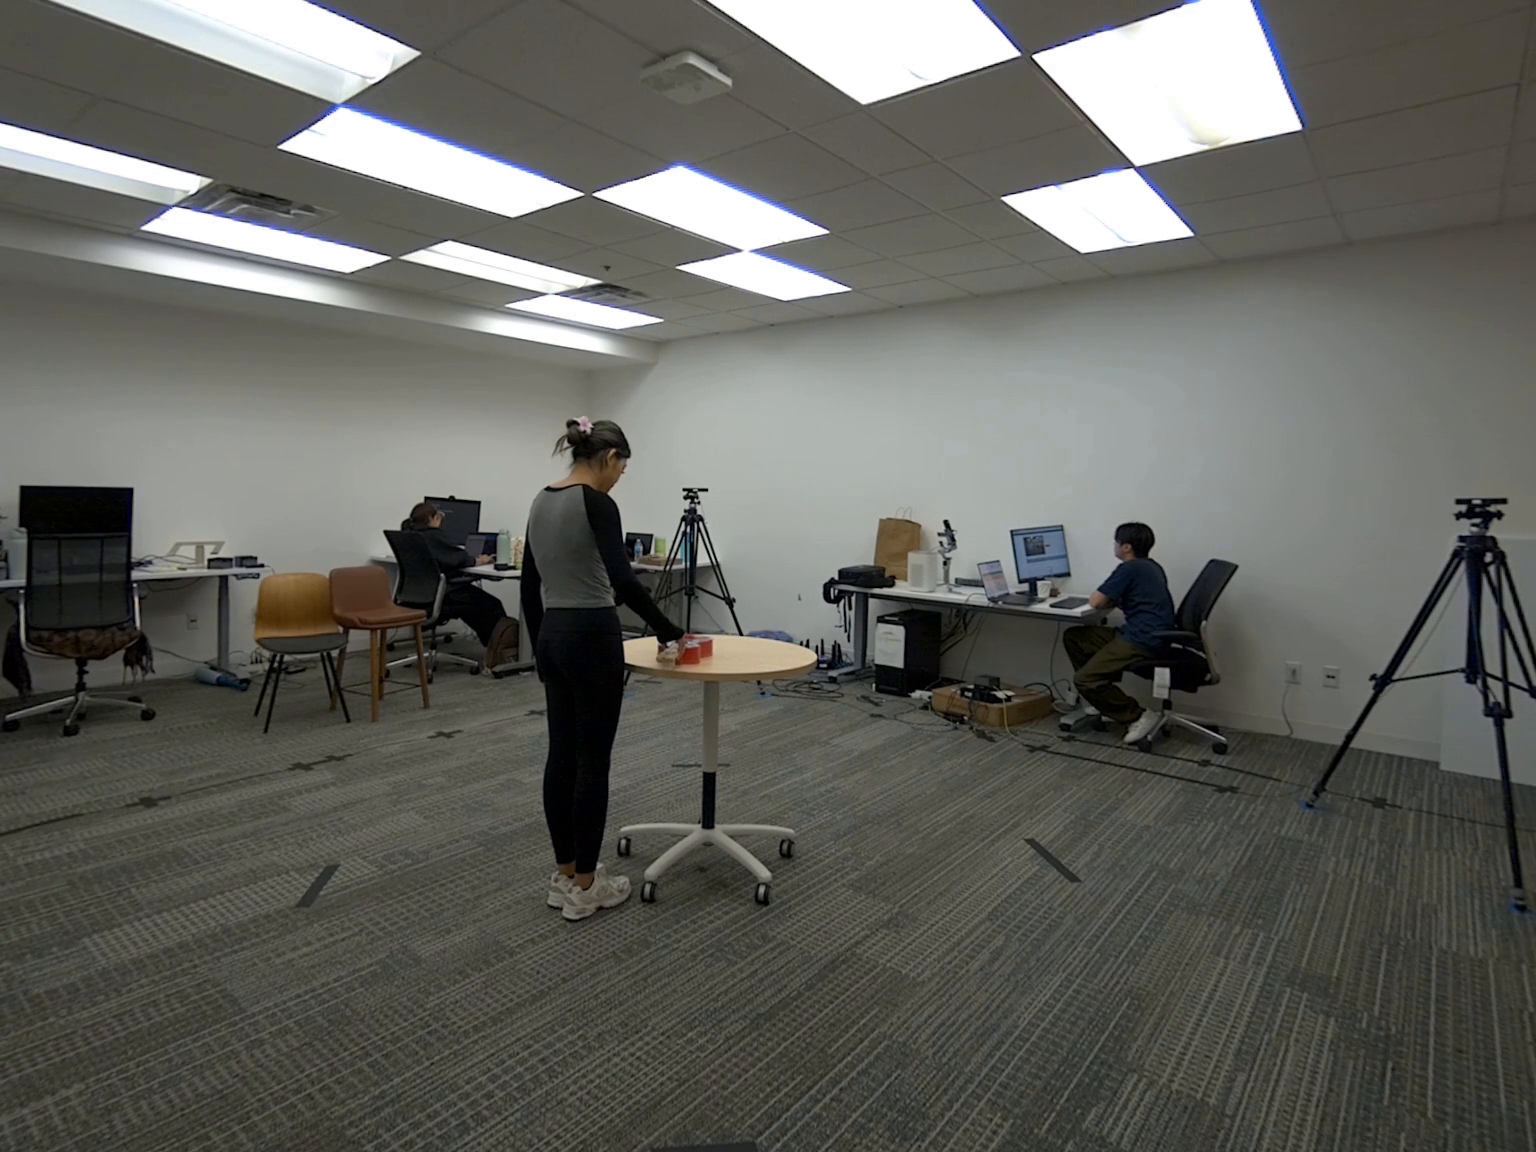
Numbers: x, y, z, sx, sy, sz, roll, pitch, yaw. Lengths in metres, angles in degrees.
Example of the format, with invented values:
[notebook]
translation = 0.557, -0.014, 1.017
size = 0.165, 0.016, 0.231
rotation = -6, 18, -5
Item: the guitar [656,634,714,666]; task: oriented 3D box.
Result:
[guitar]
translation = -0.342, 0.262, 2.891
size = 0.196, 0.070, 0.492
rotation = 4, 5, 11
